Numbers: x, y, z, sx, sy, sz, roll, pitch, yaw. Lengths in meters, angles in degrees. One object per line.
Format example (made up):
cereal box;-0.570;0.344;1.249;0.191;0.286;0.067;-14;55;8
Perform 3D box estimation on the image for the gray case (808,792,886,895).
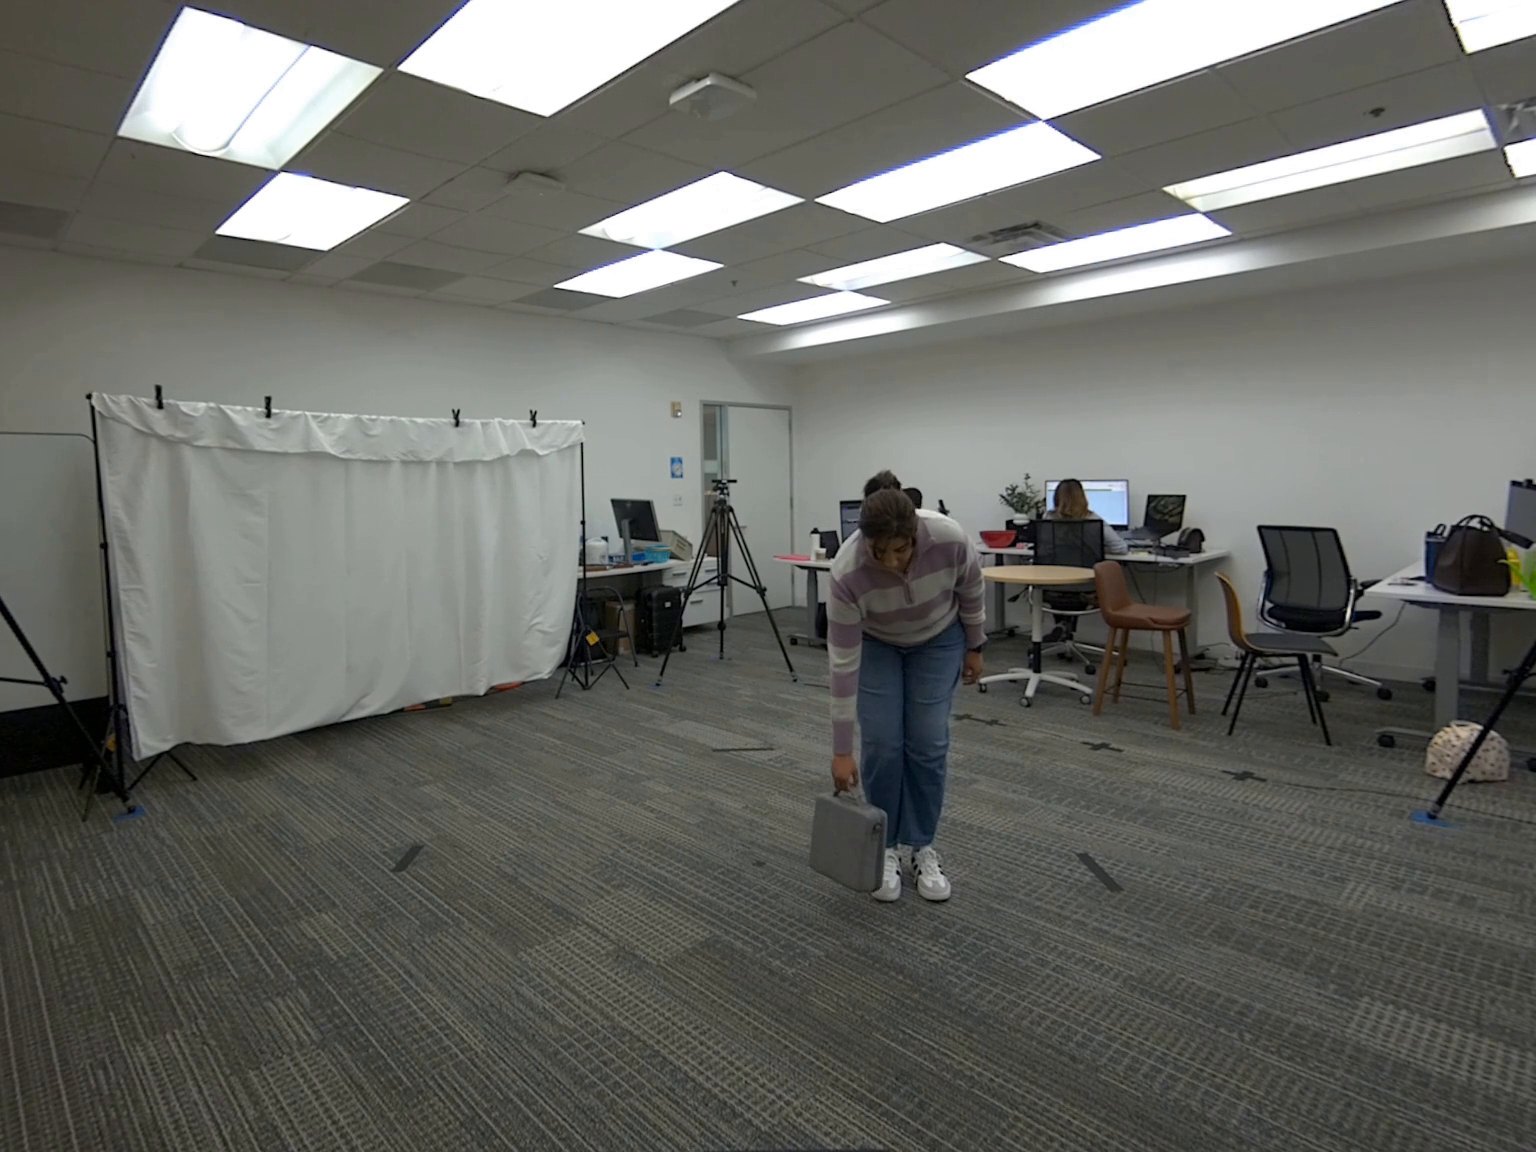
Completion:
gray case;0.261;0.837;2.713;0.101;0.261;0.264;5;-2;-35
